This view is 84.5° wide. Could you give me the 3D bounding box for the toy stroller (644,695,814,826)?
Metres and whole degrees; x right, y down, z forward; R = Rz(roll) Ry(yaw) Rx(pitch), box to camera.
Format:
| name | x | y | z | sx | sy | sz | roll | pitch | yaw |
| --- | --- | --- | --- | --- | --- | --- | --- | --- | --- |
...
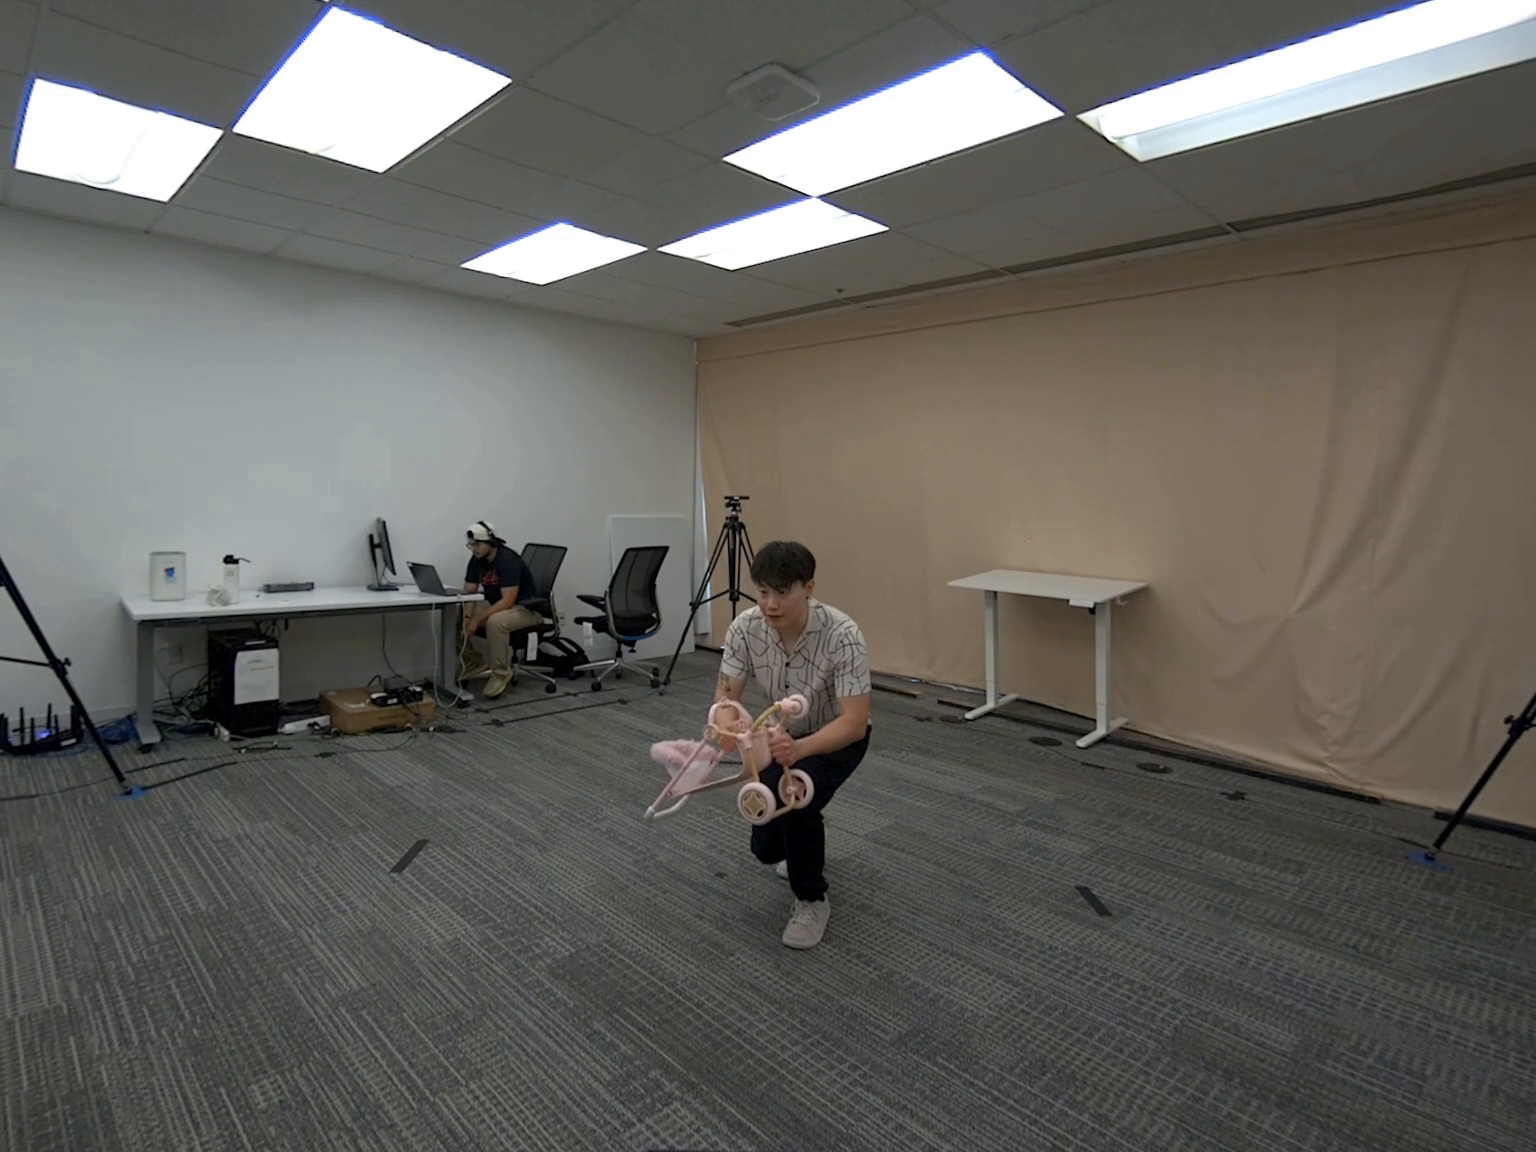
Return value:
| name | x | y | z | sx | sy | sz | roll | pitch | yaw |
| --- | --- | --- | --- | --- | --- | --- | --- | --- | --- |
| toy stroller | -0.121 | 0.526 | 2.405 | 0.544 | 0.343 | 0.276 | -10 | -5 | 28 |
